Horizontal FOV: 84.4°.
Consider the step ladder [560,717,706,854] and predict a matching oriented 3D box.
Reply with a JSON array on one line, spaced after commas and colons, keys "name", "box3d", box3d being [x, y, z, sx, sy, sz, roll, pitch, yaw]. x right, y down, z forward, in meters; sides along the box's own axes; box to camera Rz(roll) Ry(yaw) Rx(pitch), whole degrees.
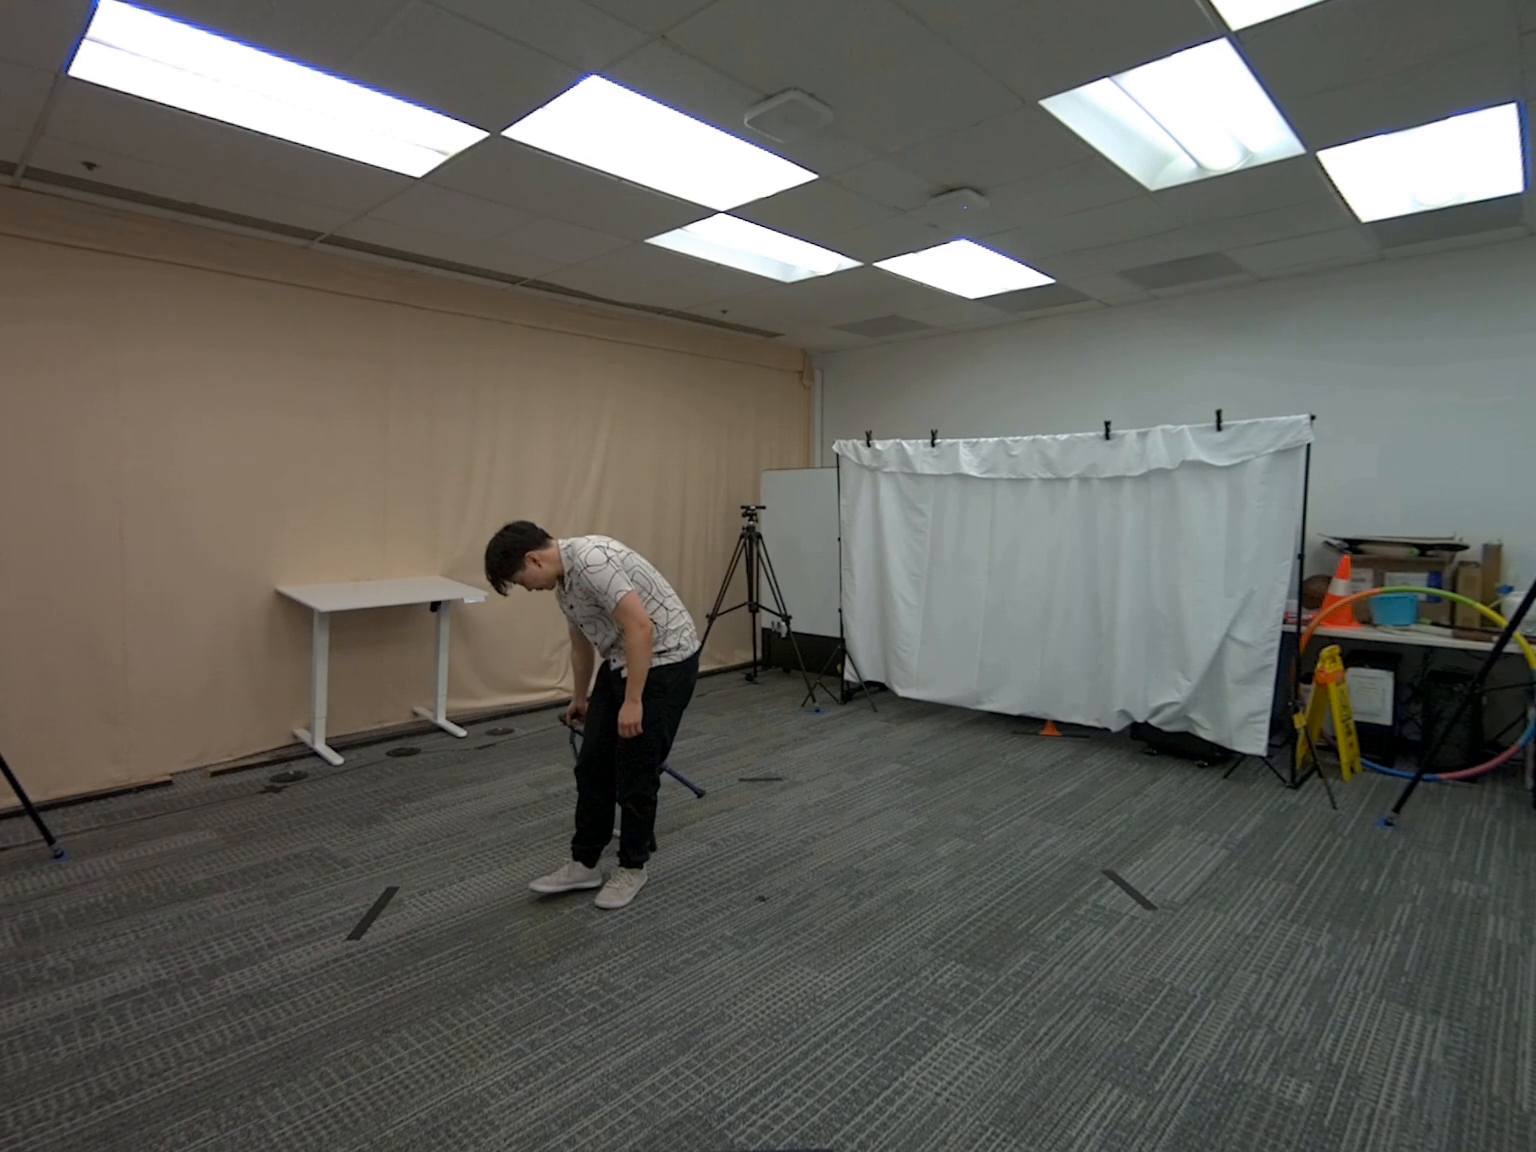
[{"name": "step ladder", "box3d": [-0.629, 0.766, 3.508, 0.445, 0.592, 0.346, 2, 35, 42]}]
